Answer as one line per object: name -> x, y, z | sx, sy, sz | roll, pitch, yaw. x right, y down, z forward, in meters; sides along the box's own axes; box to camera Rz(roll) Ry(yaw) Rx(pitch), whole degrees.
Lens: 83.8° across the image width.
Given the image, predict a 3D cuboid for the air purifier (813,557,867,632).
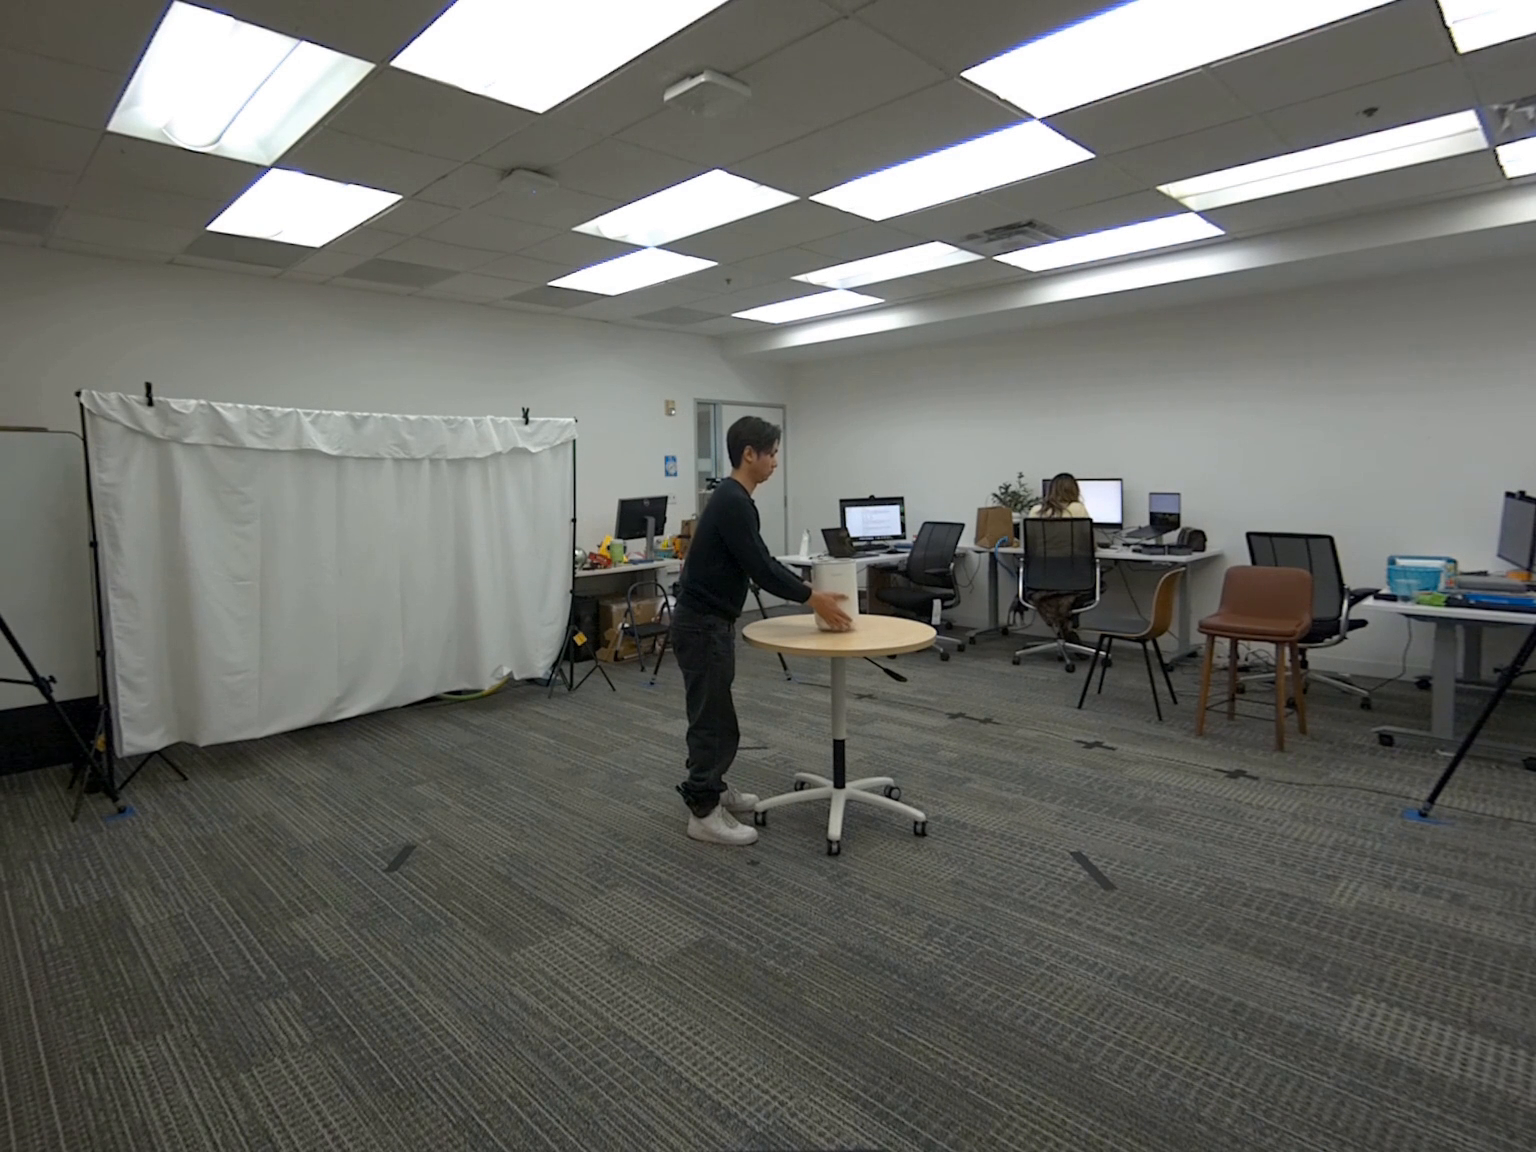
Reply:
air purifier -> 0.282, 0.069, 3.399 | 0.171, 0.265, 0.172 | -3, 3, -3
